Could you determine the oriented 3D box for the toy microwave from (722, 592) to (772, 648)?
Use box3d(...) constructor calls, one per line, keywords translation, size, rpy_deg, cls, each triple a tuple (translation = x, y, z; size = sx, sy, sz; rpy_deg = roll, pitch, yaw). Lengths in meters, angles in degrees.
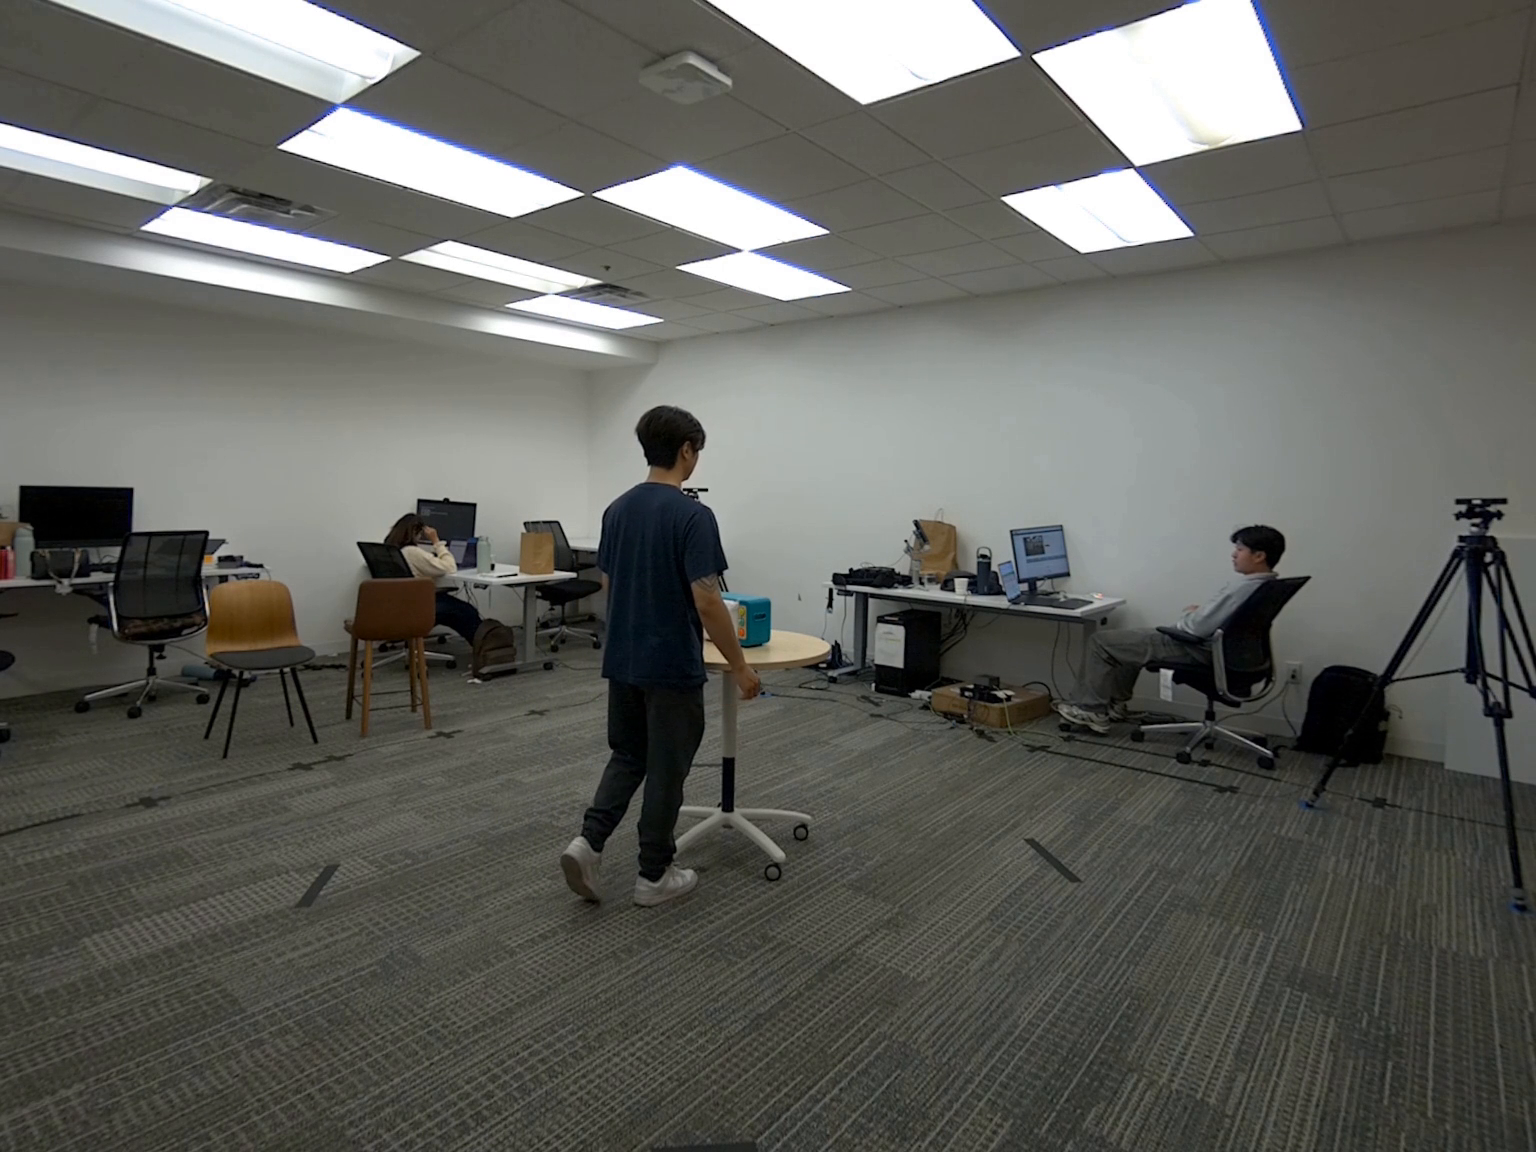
box3d(translation=(-0.150, 0.163, 3.300), size=(0.296, 0.183, 0.148), rpy_deg=(6, 6, 45), cls="toy microwave")
